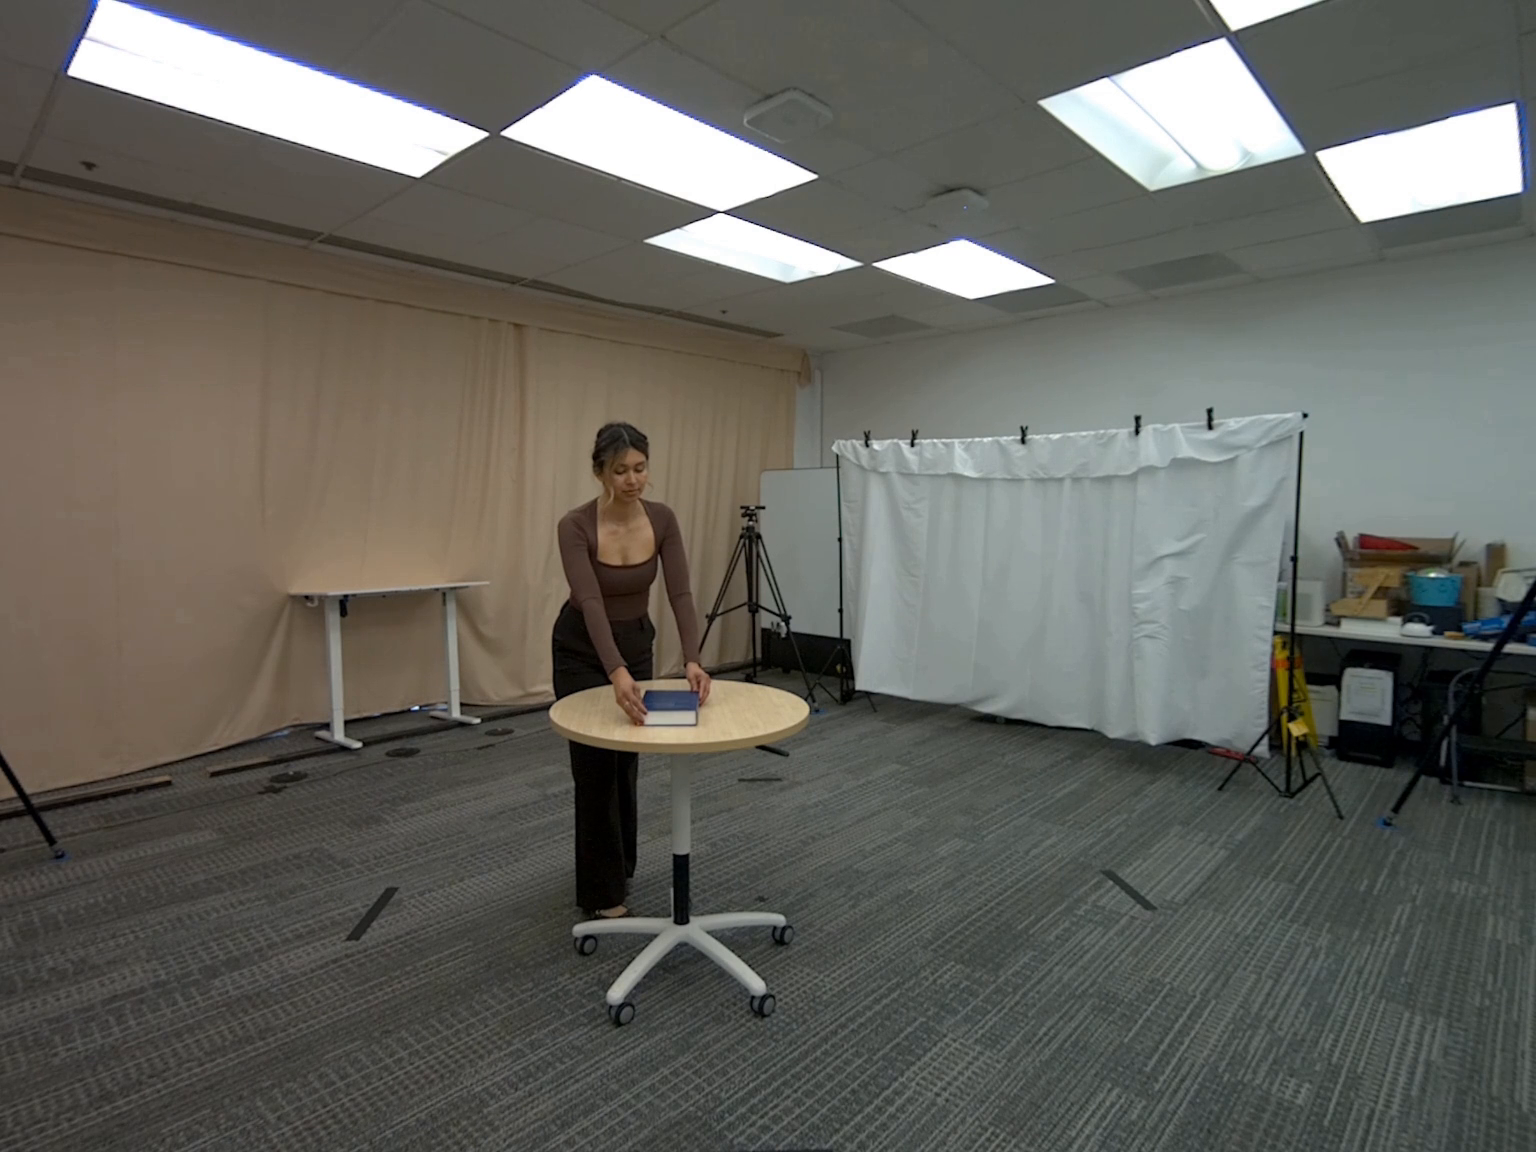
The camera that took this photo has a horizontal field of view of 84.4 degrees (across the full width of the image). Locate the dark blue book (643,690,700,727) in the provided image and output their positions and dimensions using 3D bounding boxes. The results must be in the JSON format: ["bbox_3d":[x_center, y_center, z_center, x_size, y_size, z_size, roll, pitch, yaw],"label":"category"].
[{"bbox_3d":[-0.274,0.385,2.388,0.163,0.045,0.246,0,4,-3],"label":"dark blue book"}]
